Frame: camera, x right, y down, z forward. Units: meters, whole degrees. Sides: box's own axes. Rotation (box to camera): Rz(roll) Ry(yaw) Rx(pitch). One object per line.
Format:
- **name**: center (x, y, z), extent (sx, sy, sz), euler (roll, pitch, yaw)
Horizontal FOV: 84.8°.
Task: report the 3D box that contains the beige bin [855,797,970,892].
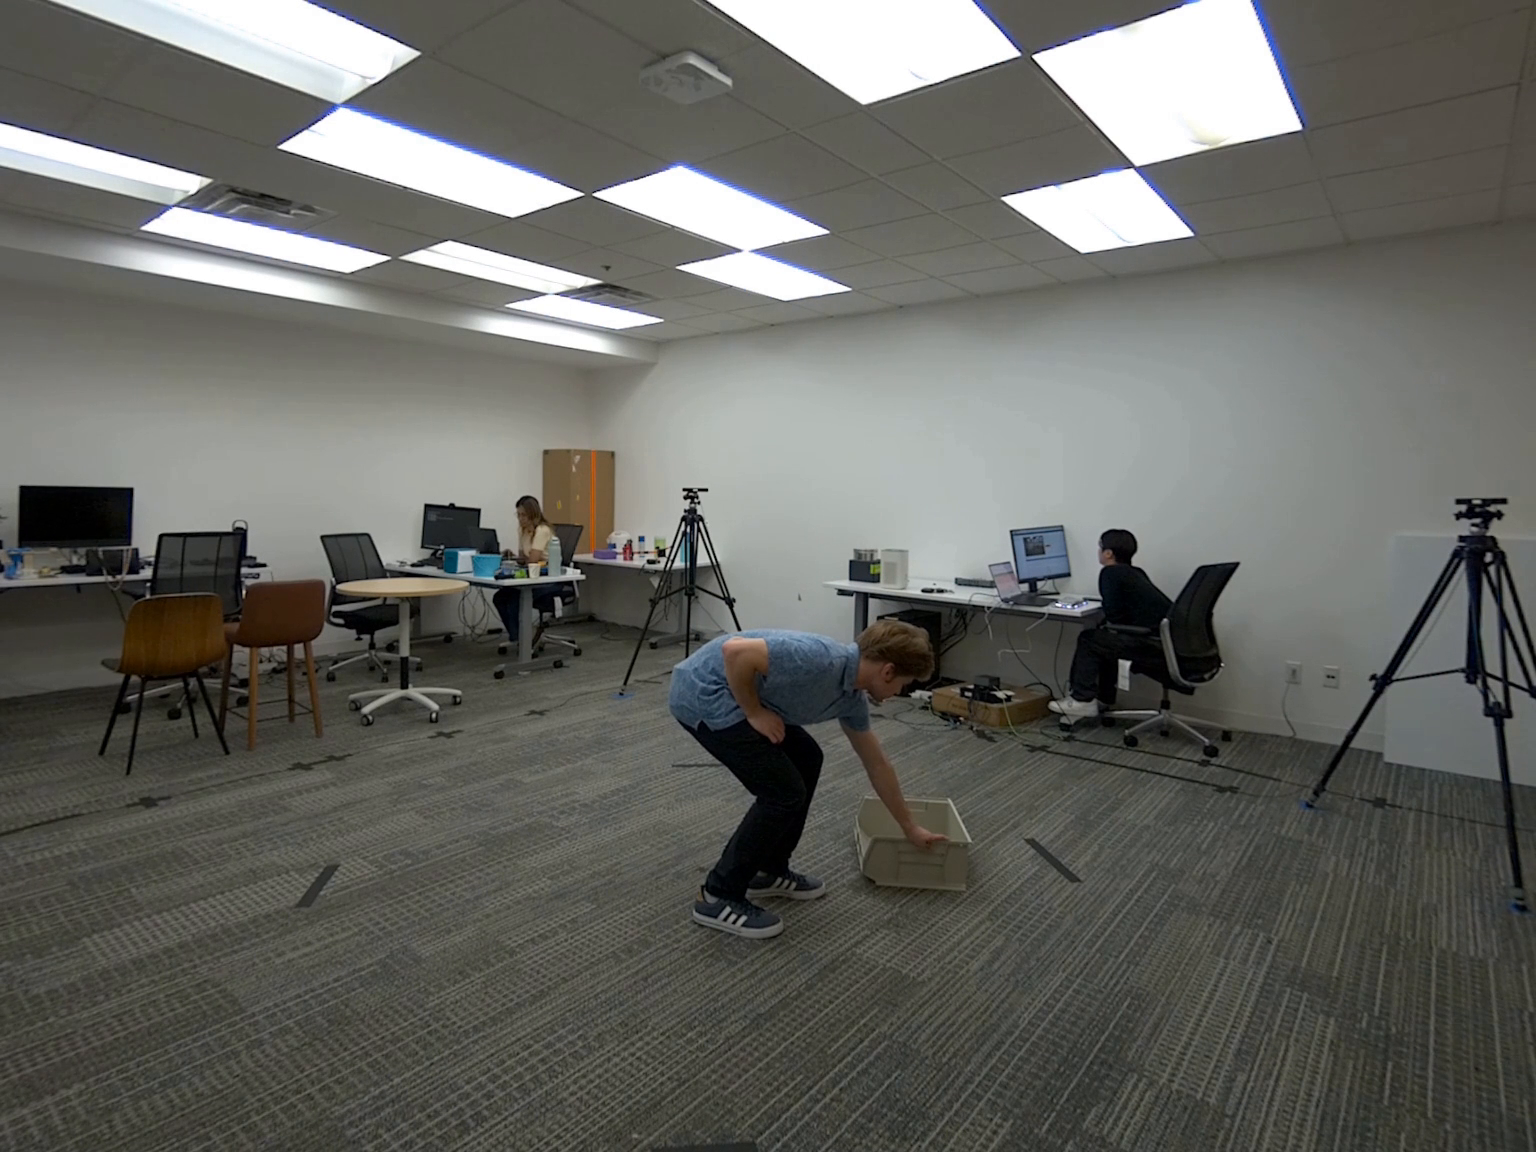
- **beige bin**: center (0.525, 0.988, 3.199), extent (0.379, 0.188, 0.422), euler (2, 5, 3)
